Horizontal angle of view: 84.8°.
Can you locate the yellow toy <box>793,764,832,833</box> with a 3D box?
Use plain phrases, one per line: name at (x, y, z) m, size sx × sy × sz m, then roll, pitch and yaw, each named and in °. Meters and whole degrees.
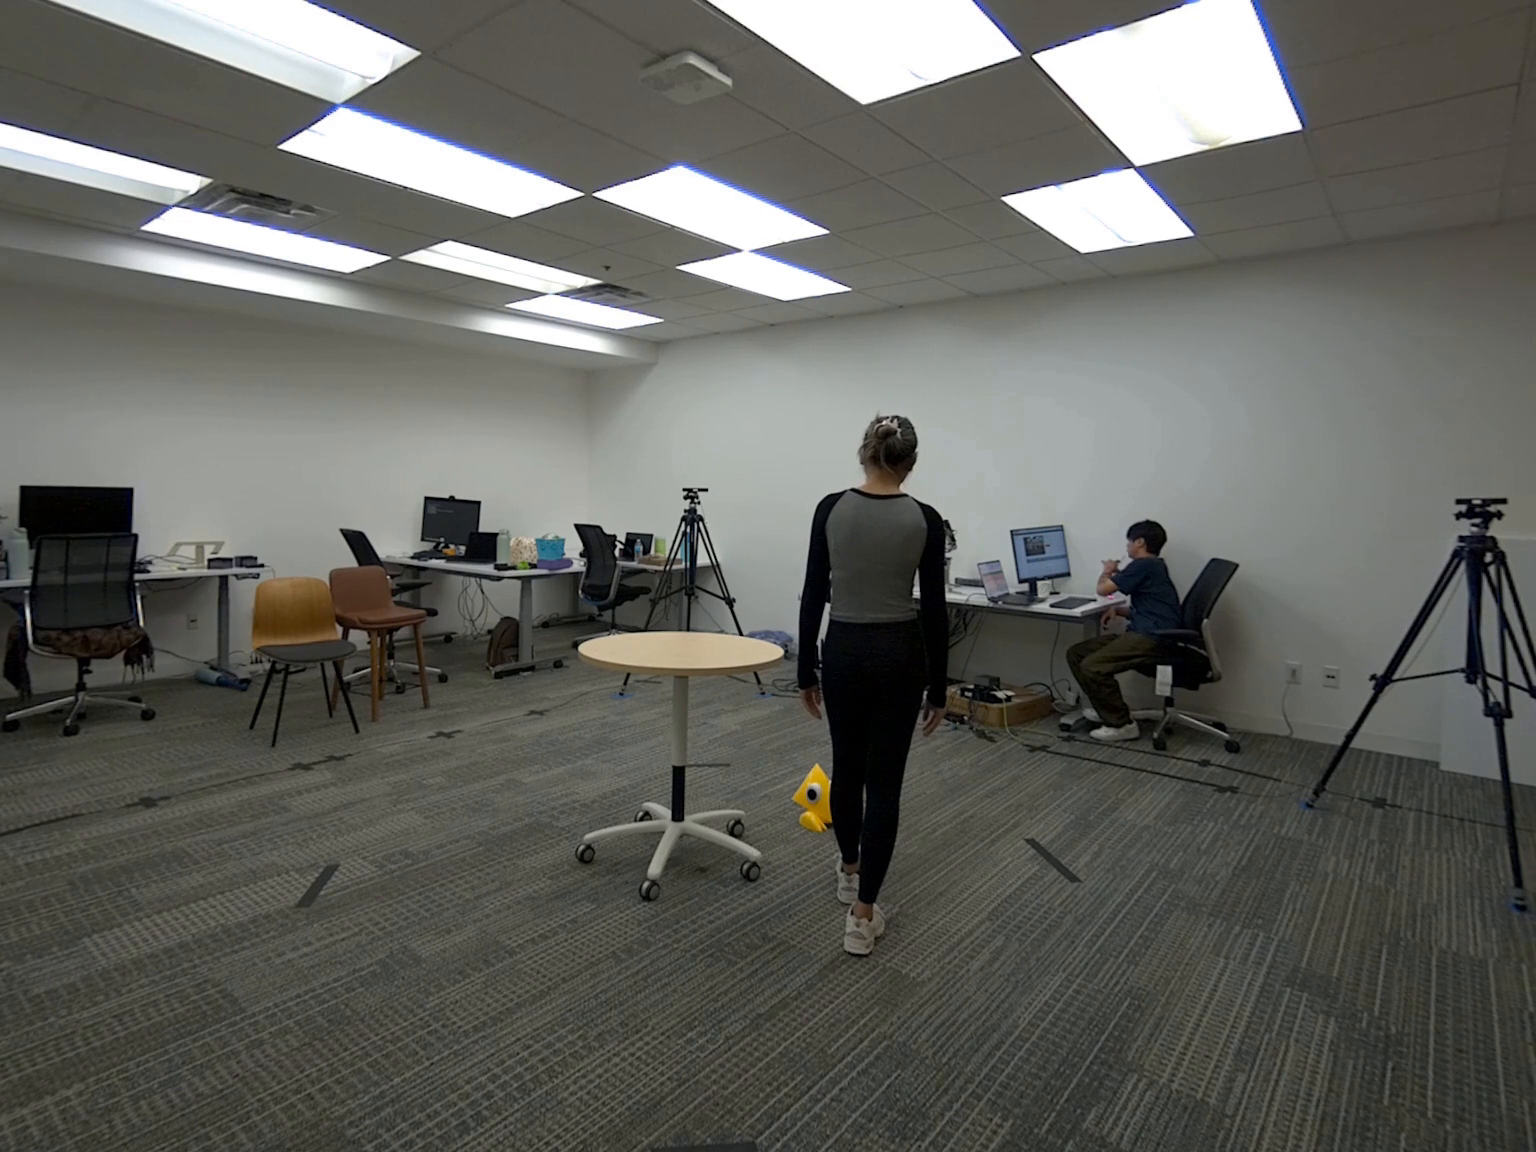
yellow toy at (0.227, 0.922, 3.578) m, size 0.200 × 0.230 × 0.198 m, roll 1°, pitch 4°, yaw -26°
